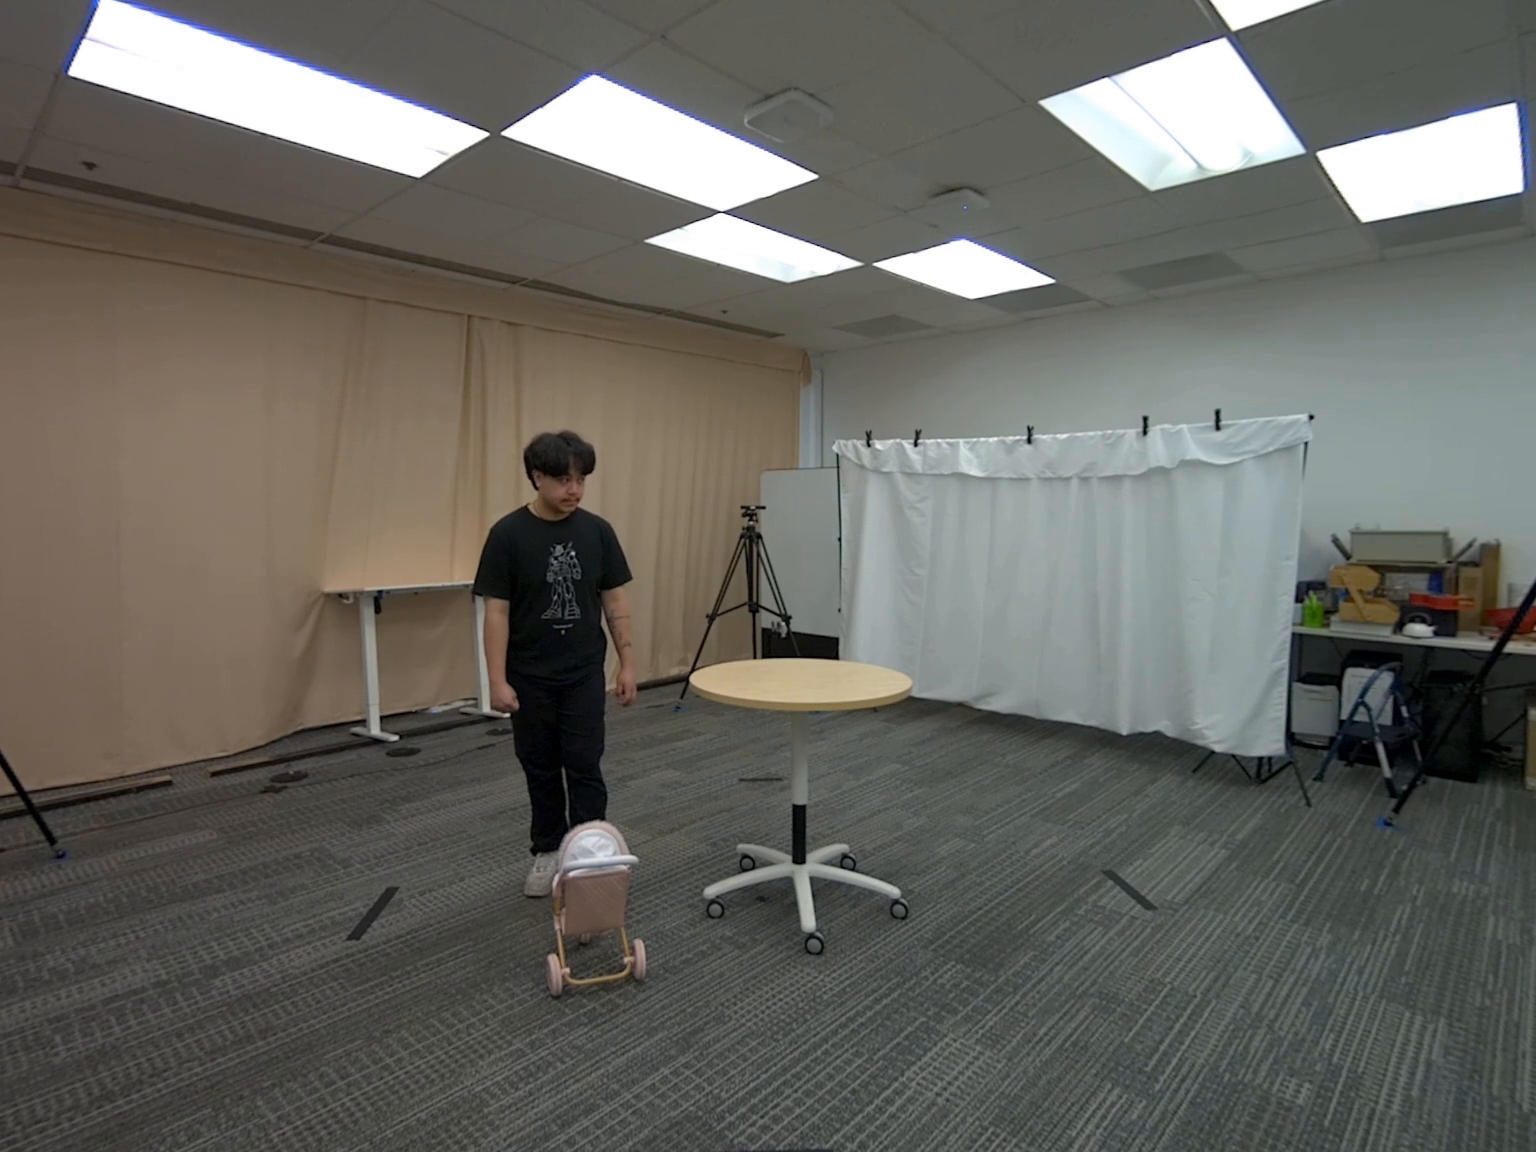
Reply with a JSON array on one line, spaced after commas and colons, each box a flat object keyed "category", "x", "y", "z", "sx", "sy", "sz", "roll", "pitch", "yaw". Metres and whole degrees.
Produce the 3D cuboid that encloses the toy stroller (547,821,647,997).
[{"category": "toy stroller", "x": -0.518, "y": 0.965, "z": 2.500, "sx": 0.277, "sy": 0.530, "sz": 0.350, "roll": -1, "pitch": 18, "yaw": -16}]
